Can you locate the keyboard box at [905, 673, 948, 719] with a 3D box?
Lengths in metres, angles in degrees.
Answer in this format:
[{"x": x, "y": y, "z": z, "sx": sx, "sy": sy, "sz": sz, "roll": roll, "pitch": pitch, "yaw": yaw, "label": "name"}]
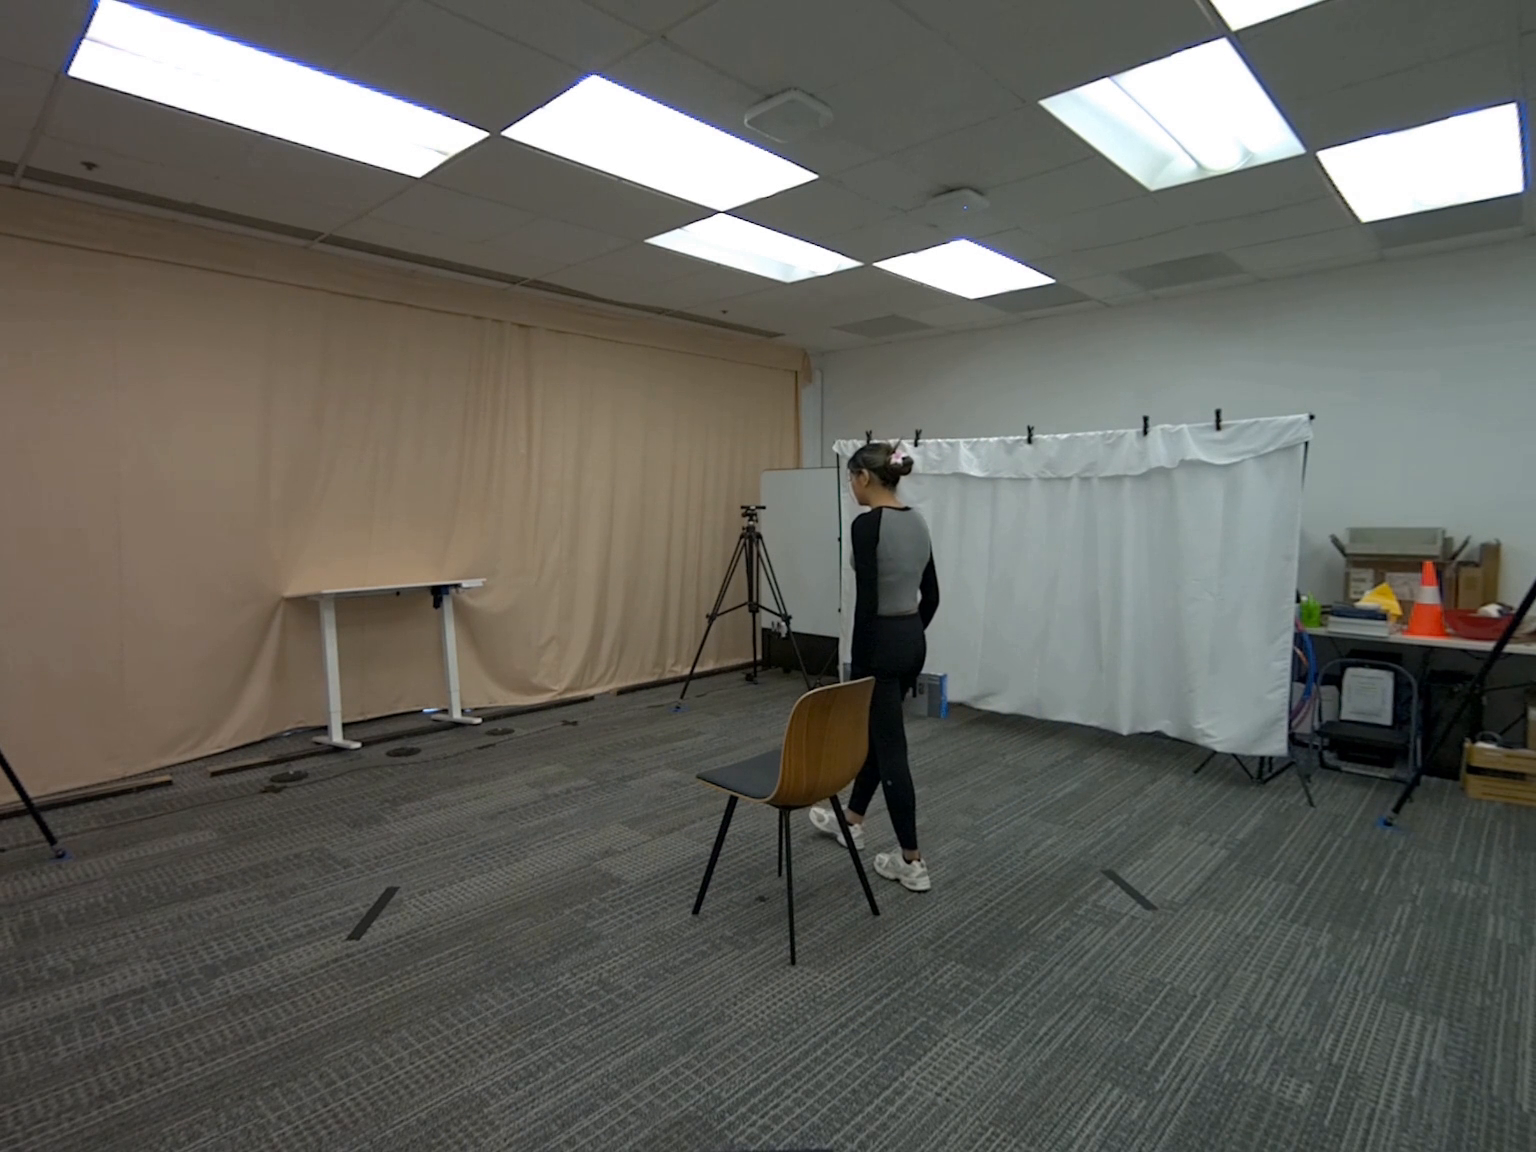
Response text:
[{"x": 0.516, "y": 0.463, "z": 3.443, "sx": 0.451, "sy": 0.175, "sz": 0.057, "roll": 4, "pitch": 6, "yaw": 35, "label": "keyboard box"}]
